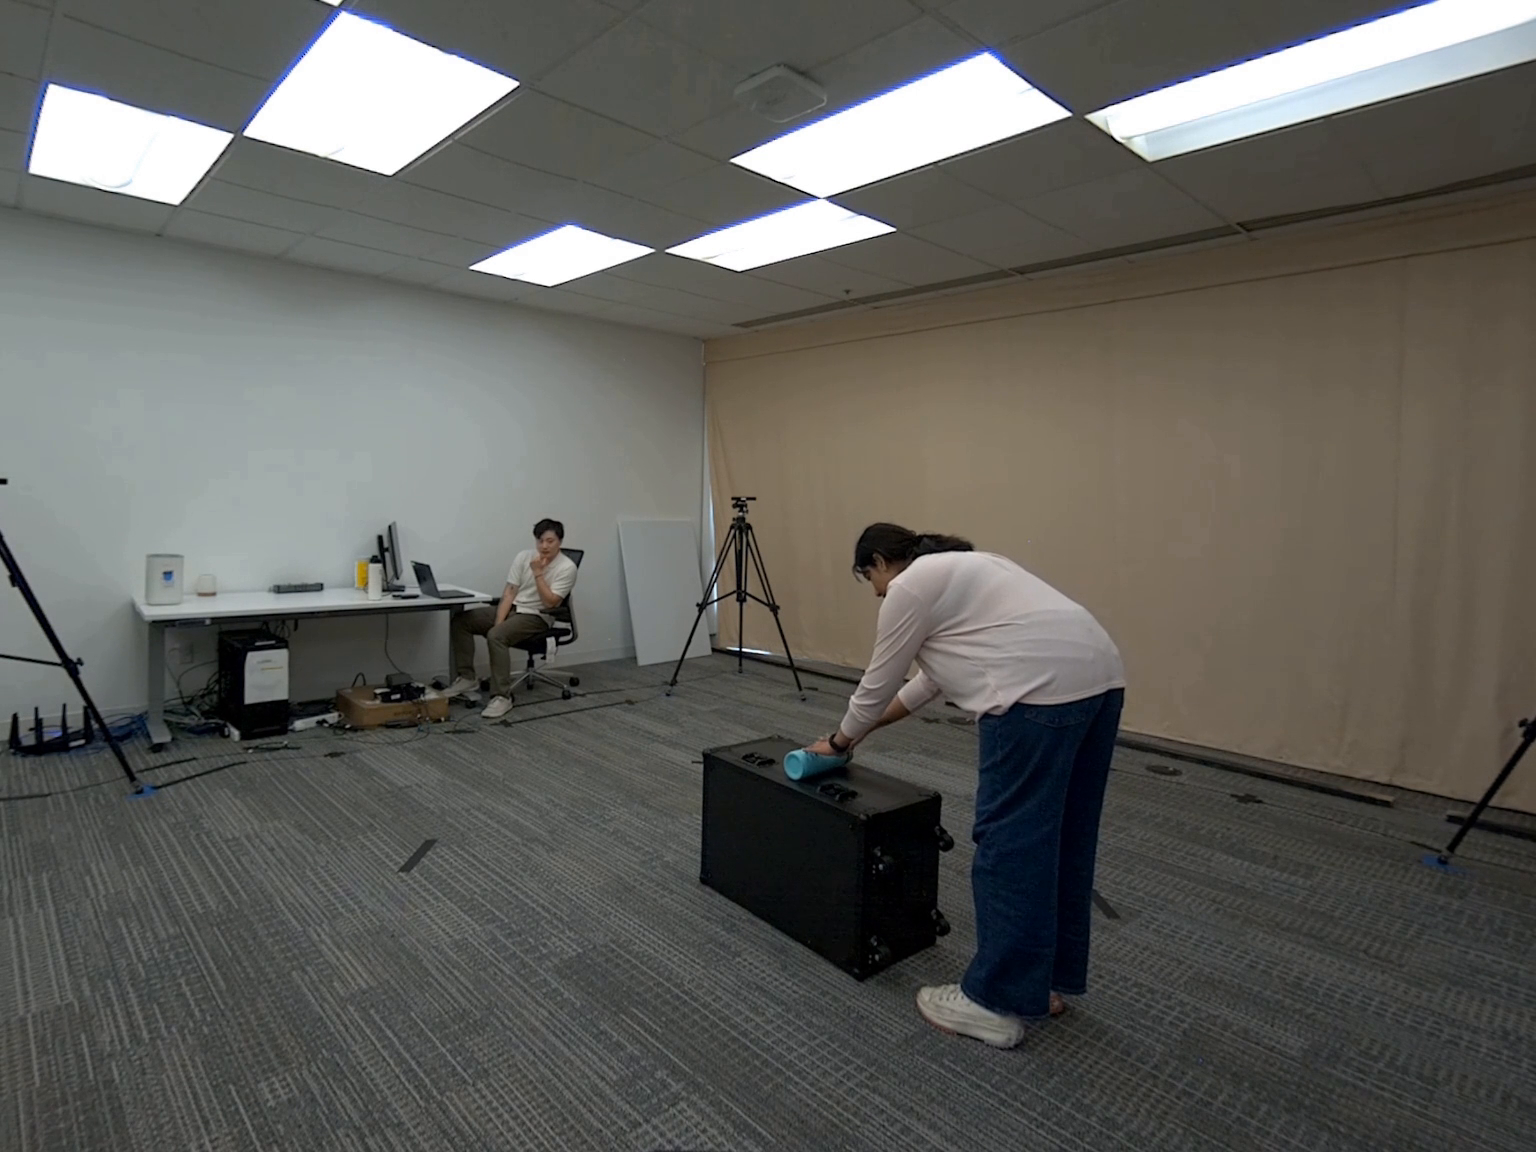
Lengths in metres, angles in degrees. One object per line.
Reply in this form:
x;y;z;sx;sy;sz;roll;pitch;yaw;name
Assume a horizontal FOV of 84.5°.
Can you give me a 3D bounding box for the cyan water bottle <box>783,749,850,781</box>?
0.174;0.607;2.817;0.277;0.092;0.095;-4;7;-44;cyan water bottle
